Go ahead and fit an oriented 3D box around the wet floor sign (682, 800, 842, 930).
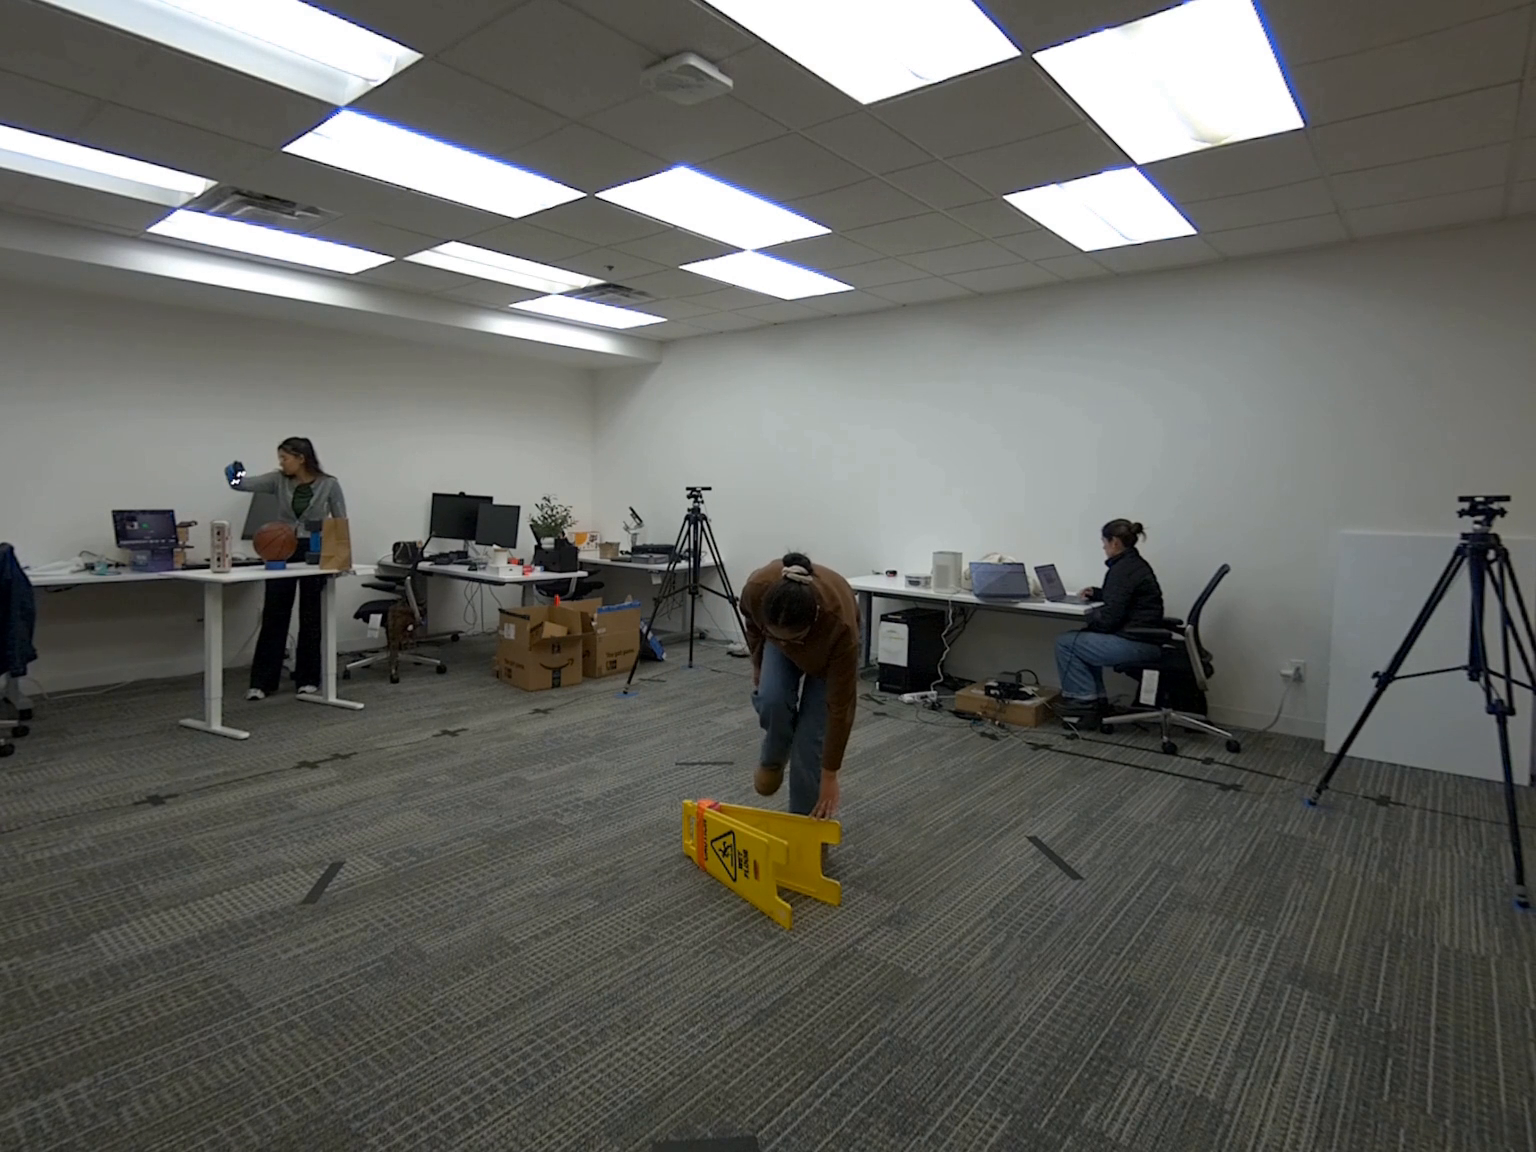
[{"bbox_3d":[-0.092,0.954,2.987,0.667,0.282,0.281,2,4,44],"label":"wet floor sign"}]
